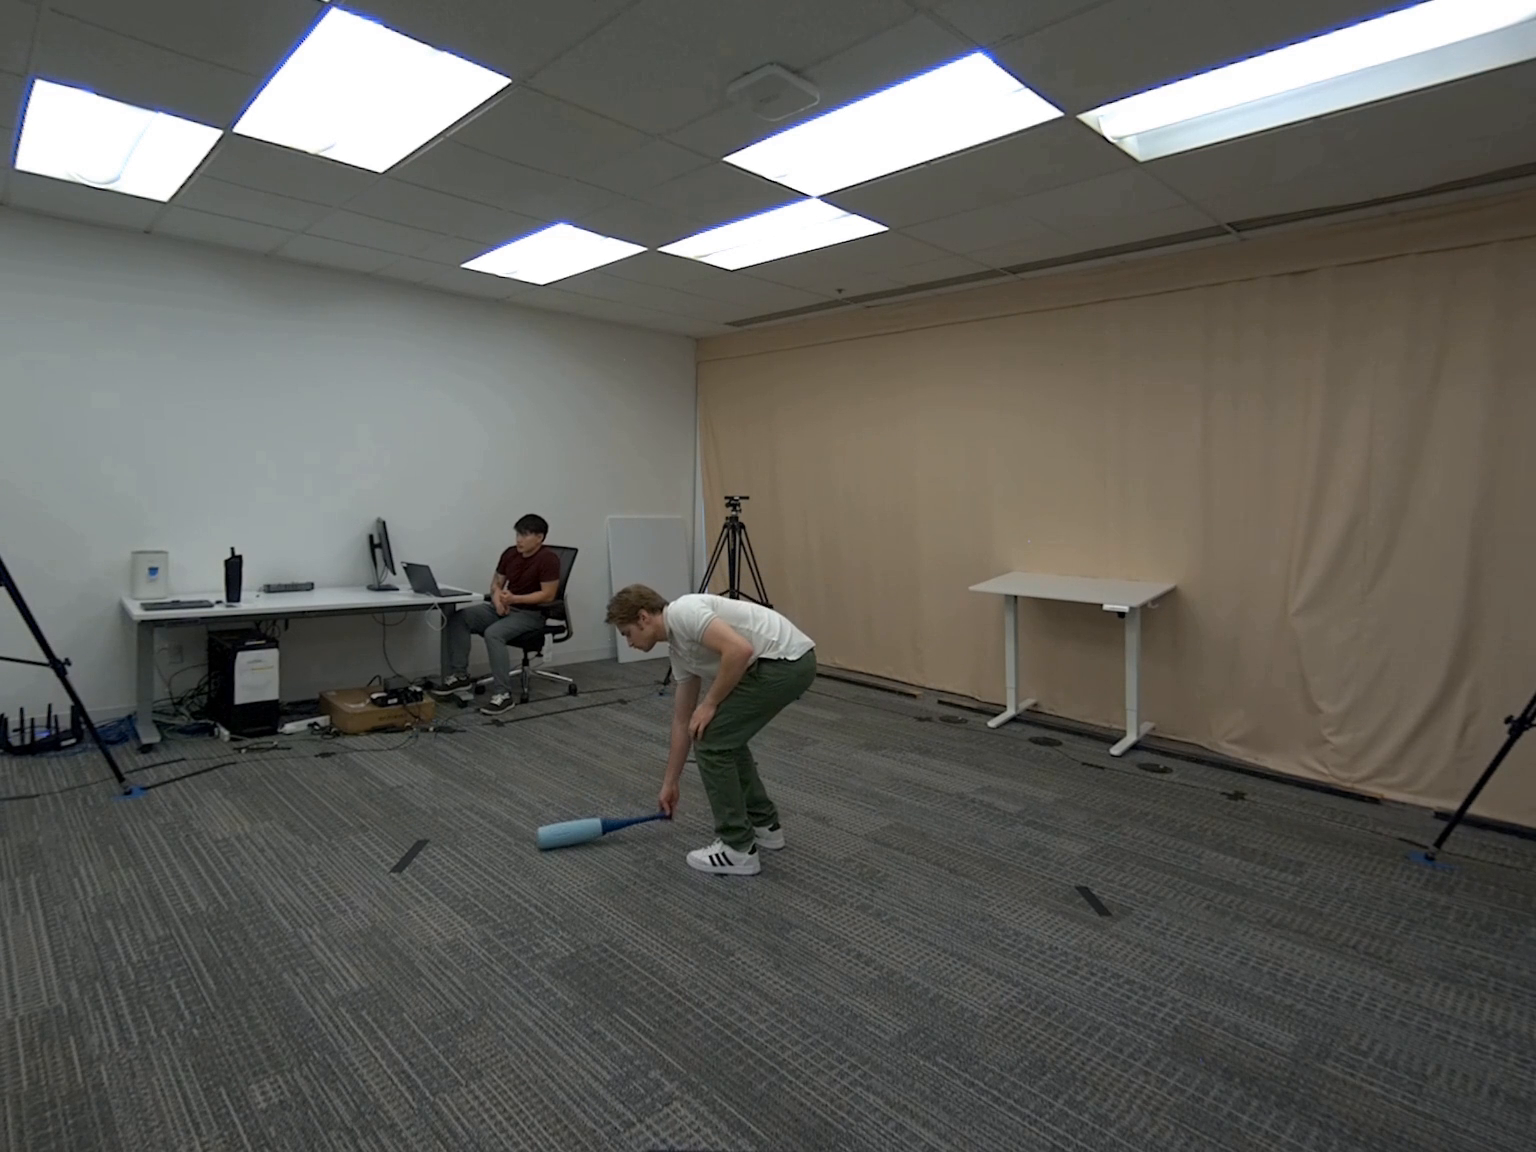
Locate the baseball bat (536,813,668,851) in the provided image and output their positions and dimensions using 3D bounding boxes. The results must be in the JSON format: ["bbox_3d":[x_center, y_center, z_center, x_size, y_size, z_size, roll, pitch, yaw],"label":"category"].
[{"bbox_3d":[-0.677,1.014,3.372,0.536,0.089,0.090,-4,6,-18],"label":"baseball bat"}]
